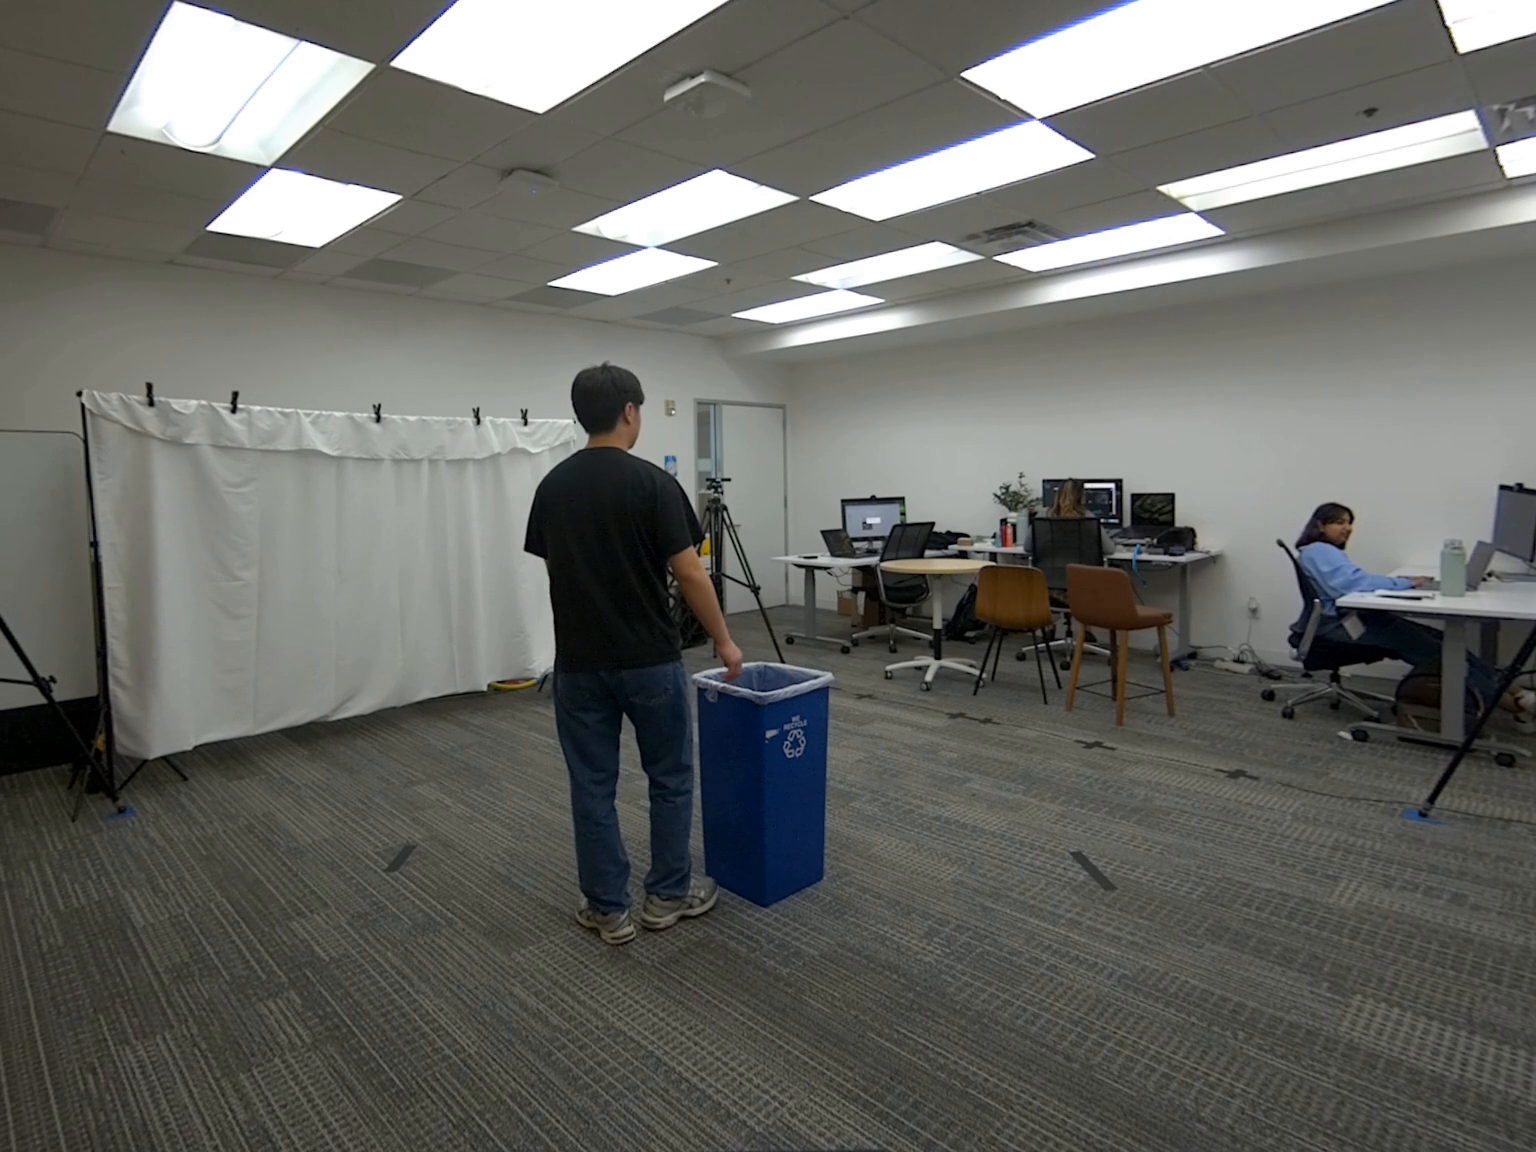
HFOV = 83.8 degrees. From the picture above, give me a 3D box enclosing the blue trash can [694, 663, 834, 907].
[{"bbox_3d":[-0.009,0.698,2.969,0.364,0.711,0.390,-5,6,-43],"label":"blue trash can"}]
